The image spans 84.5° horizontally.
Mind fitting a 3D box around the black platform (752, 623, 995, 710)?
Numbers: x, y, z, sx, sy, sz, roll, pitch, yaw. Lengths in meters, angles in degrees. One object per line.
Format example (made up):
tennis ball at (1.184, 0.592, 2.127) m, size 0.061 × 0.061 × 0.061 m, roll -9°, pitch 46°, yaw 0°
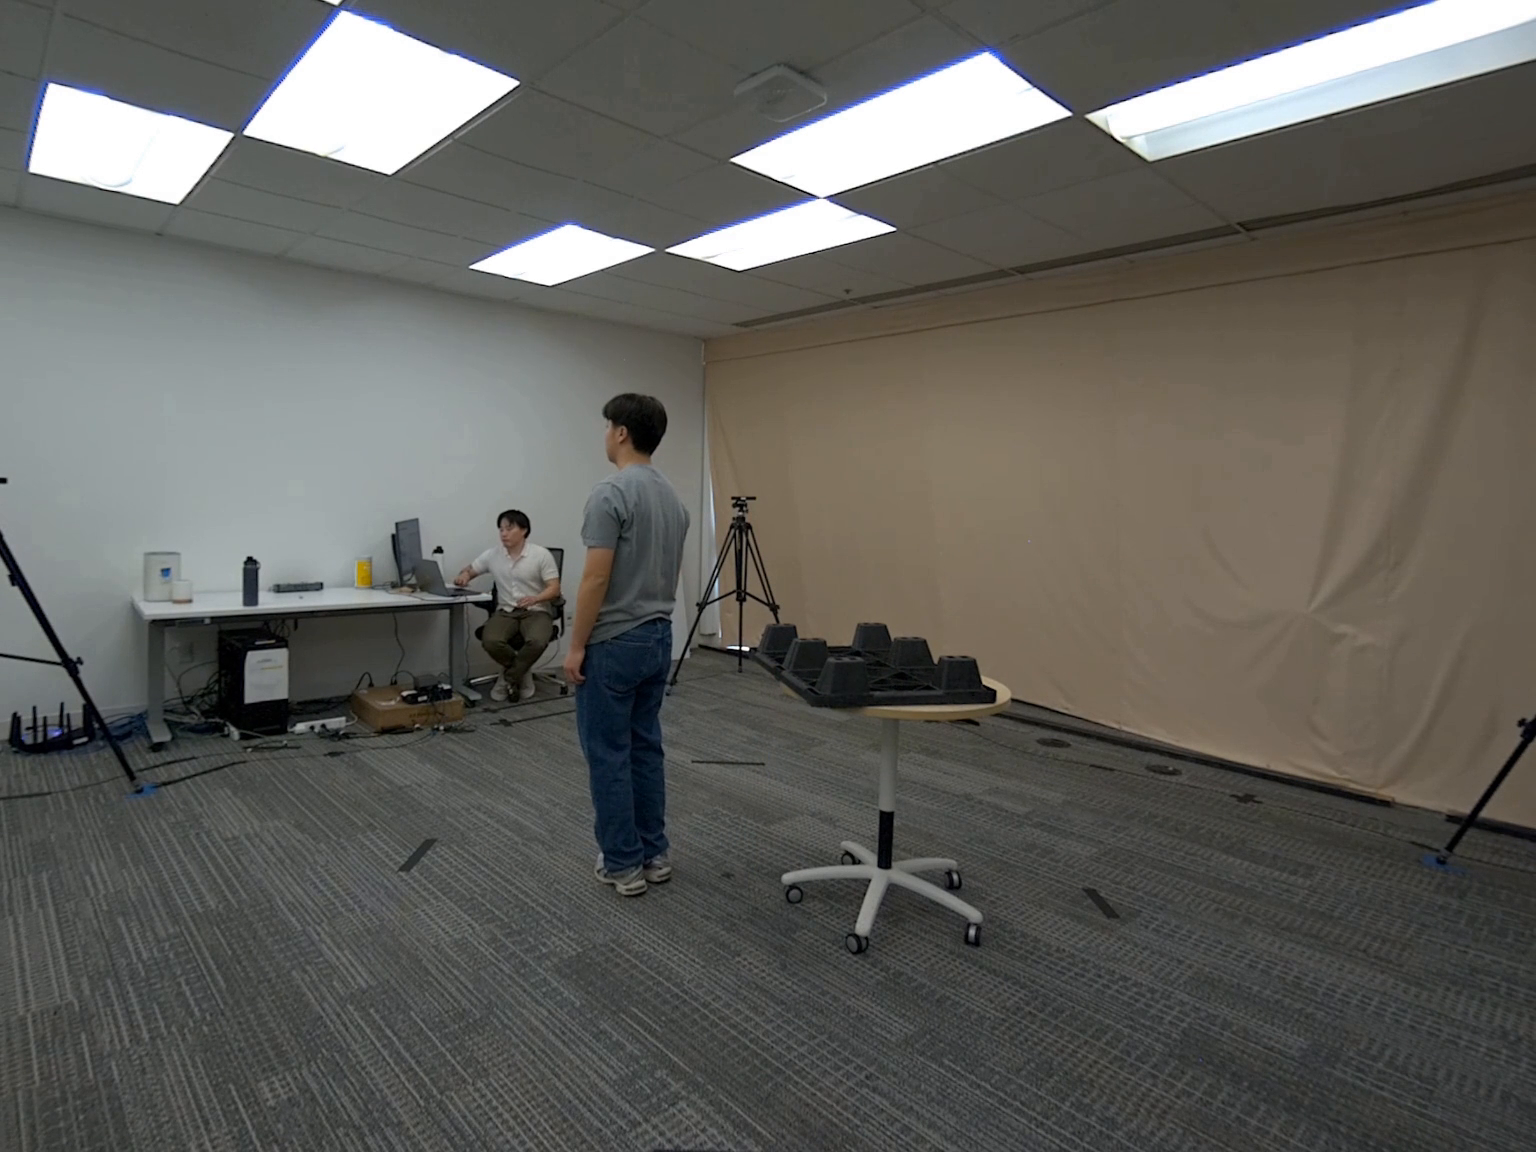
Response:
black platform at (0.303, 0.286, 2.911) m, size 0.598 × 0.143 × 0.817 m, roll 1°, pitch 5°, yaw -15°
